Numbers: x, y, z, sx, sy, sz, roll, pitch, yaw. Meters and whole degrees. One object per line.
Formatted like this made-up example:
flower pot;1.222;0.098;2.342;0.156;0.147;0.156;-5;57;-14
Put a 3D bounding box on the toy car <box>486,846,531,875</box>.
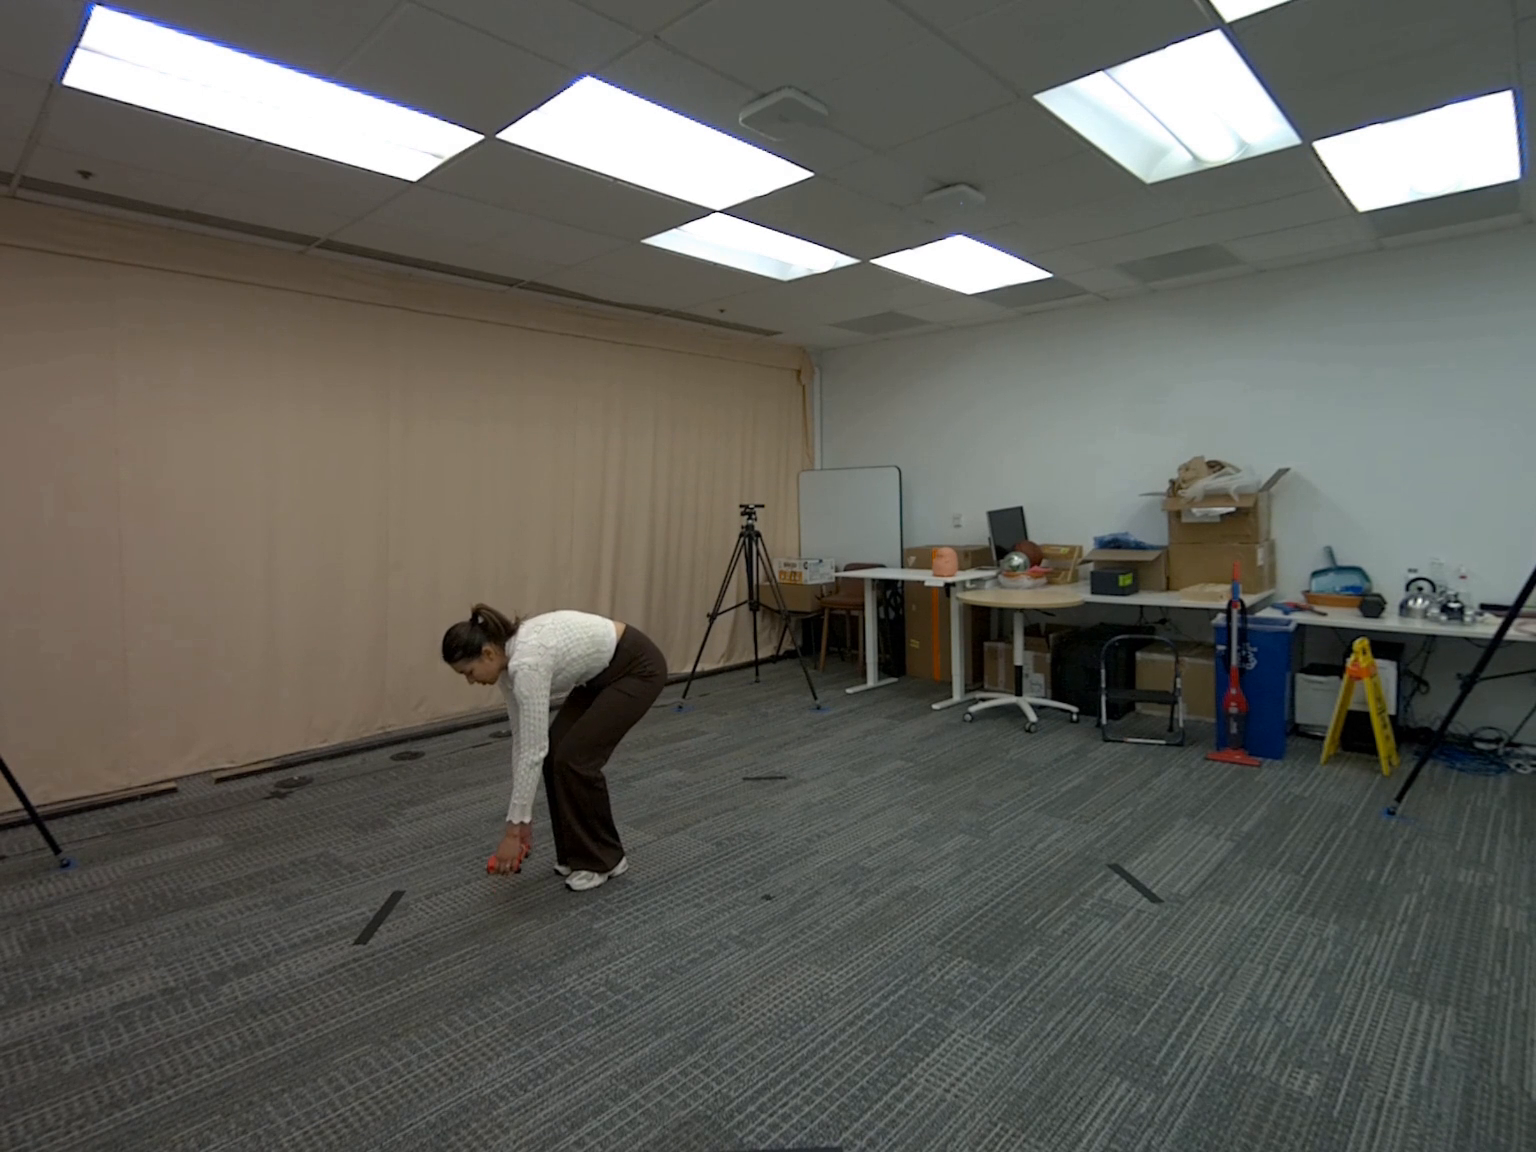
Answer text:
toy car;-0.942;1.003;3.012;0.130;0.084;0.253;0;-11;-4
